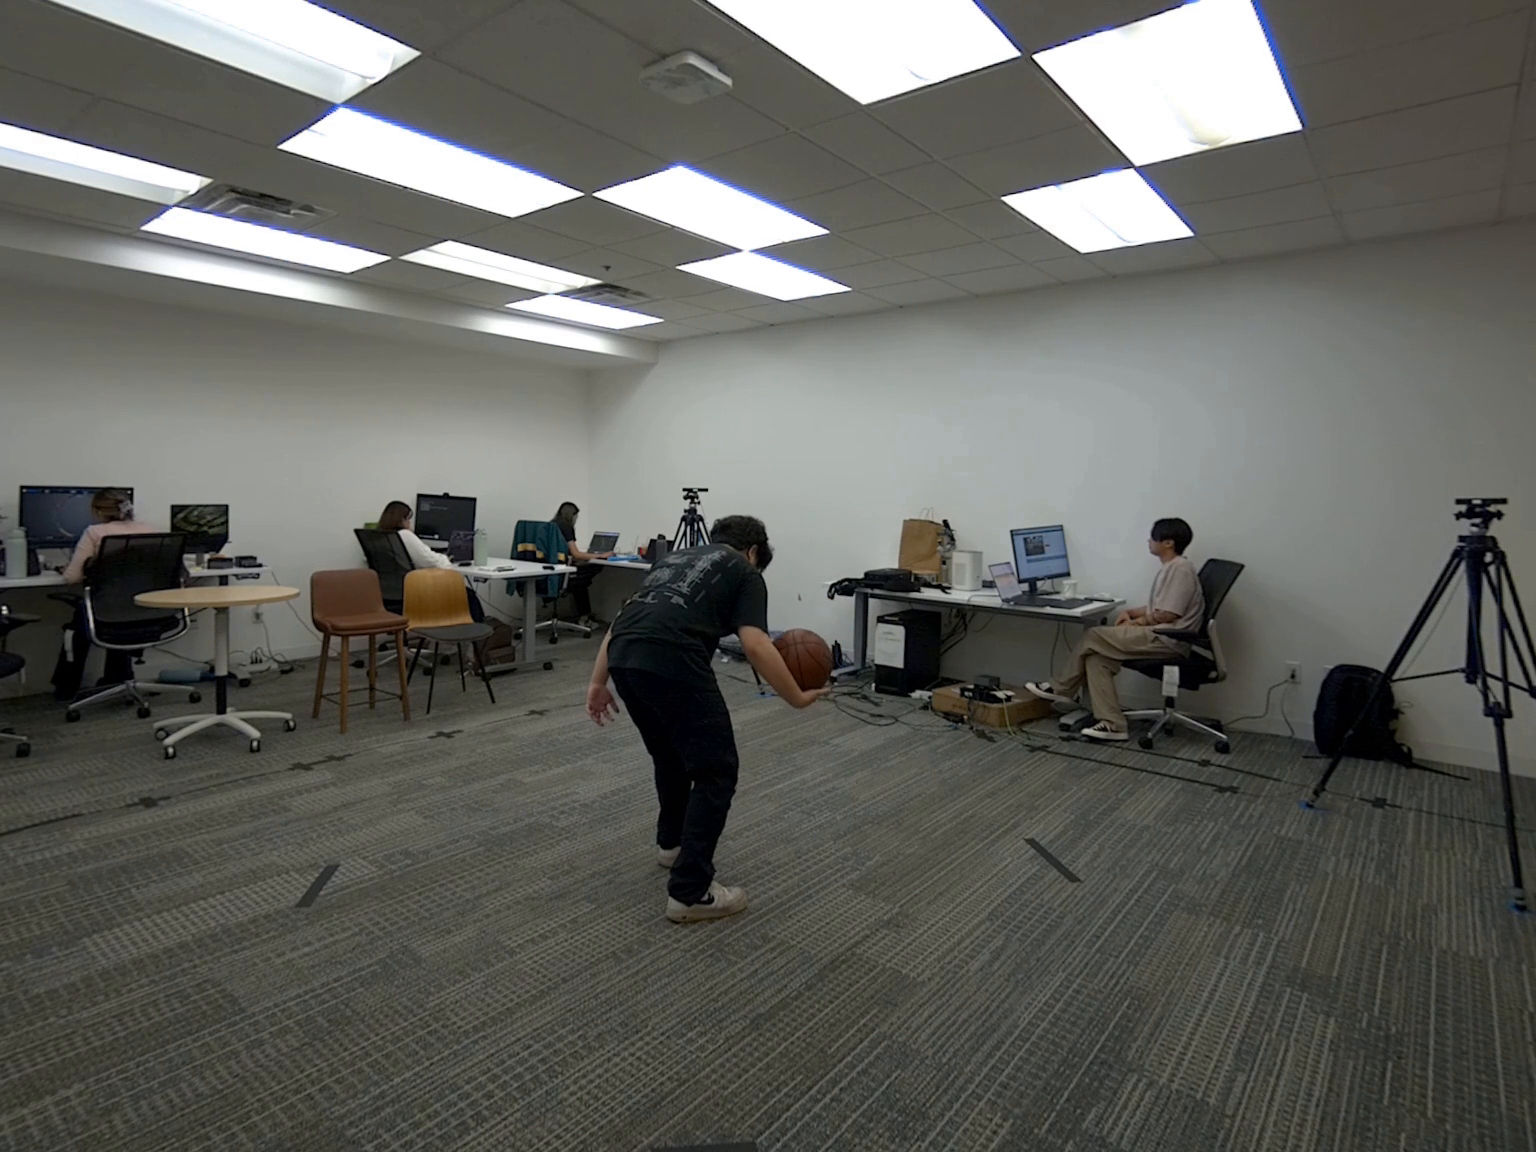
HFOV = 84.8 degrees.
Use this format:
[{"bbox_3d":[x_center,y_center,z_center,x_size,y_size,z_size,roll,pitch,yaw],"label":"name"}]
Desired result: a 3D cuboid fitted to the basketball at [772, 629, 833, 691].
[{"bbox_3d":[0.099,0.308,3.029,0.235,0.235,0.237,1,4,-2],"label":"basketball"}]
